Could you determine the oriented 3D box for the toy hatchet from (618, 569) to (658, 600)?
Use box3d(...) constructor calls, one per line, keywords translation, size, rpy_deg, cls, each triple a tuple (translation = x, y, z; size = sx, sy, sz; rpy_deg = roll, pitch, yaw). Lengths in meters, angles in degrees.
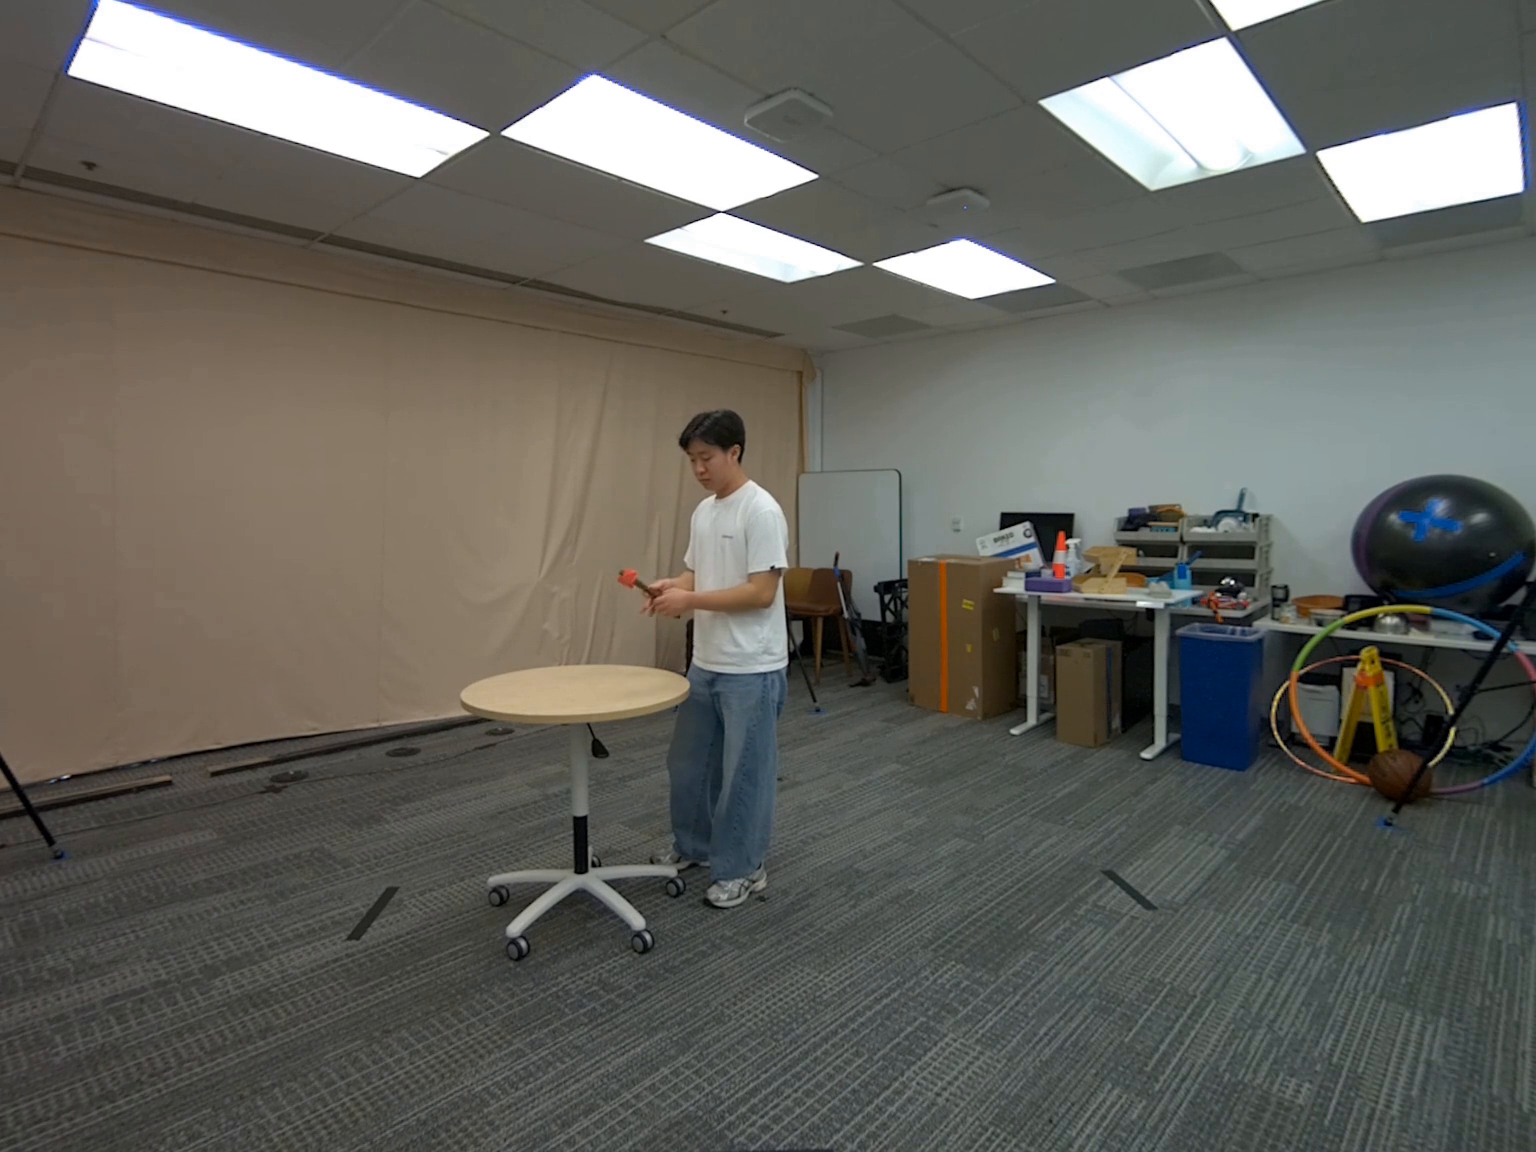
box3d(translation=(-0.416, 0.064, 2.875), size=(0.135, 0.030, 0.261), rpy_deg=(-5, -40, 40), cls="toy hatchet")
